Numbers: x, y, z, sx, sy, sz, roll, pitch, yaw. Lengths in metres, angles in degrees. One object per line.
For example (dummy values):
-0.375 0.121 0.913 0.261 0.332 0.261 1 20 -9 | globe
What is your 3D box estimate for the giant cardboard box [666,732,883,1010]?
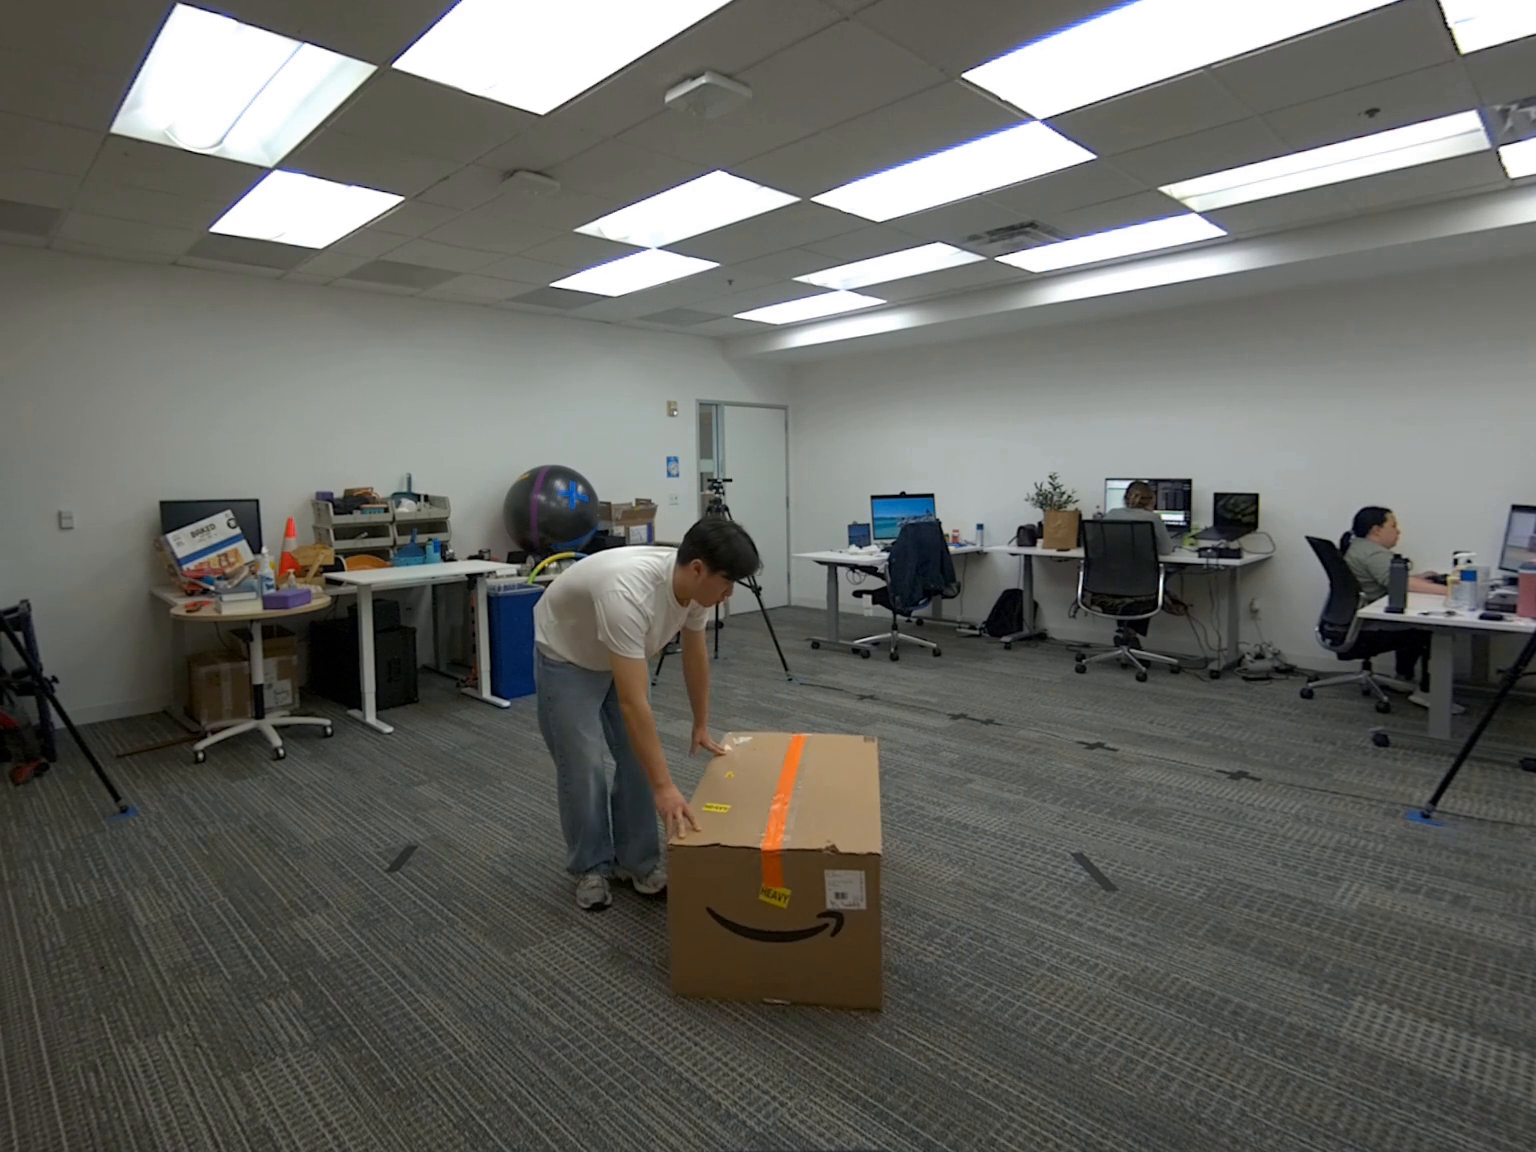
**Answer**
0.075 0.866 2.767 0.582 0.424 1.022 -1 6 7 | giant cardboard box
